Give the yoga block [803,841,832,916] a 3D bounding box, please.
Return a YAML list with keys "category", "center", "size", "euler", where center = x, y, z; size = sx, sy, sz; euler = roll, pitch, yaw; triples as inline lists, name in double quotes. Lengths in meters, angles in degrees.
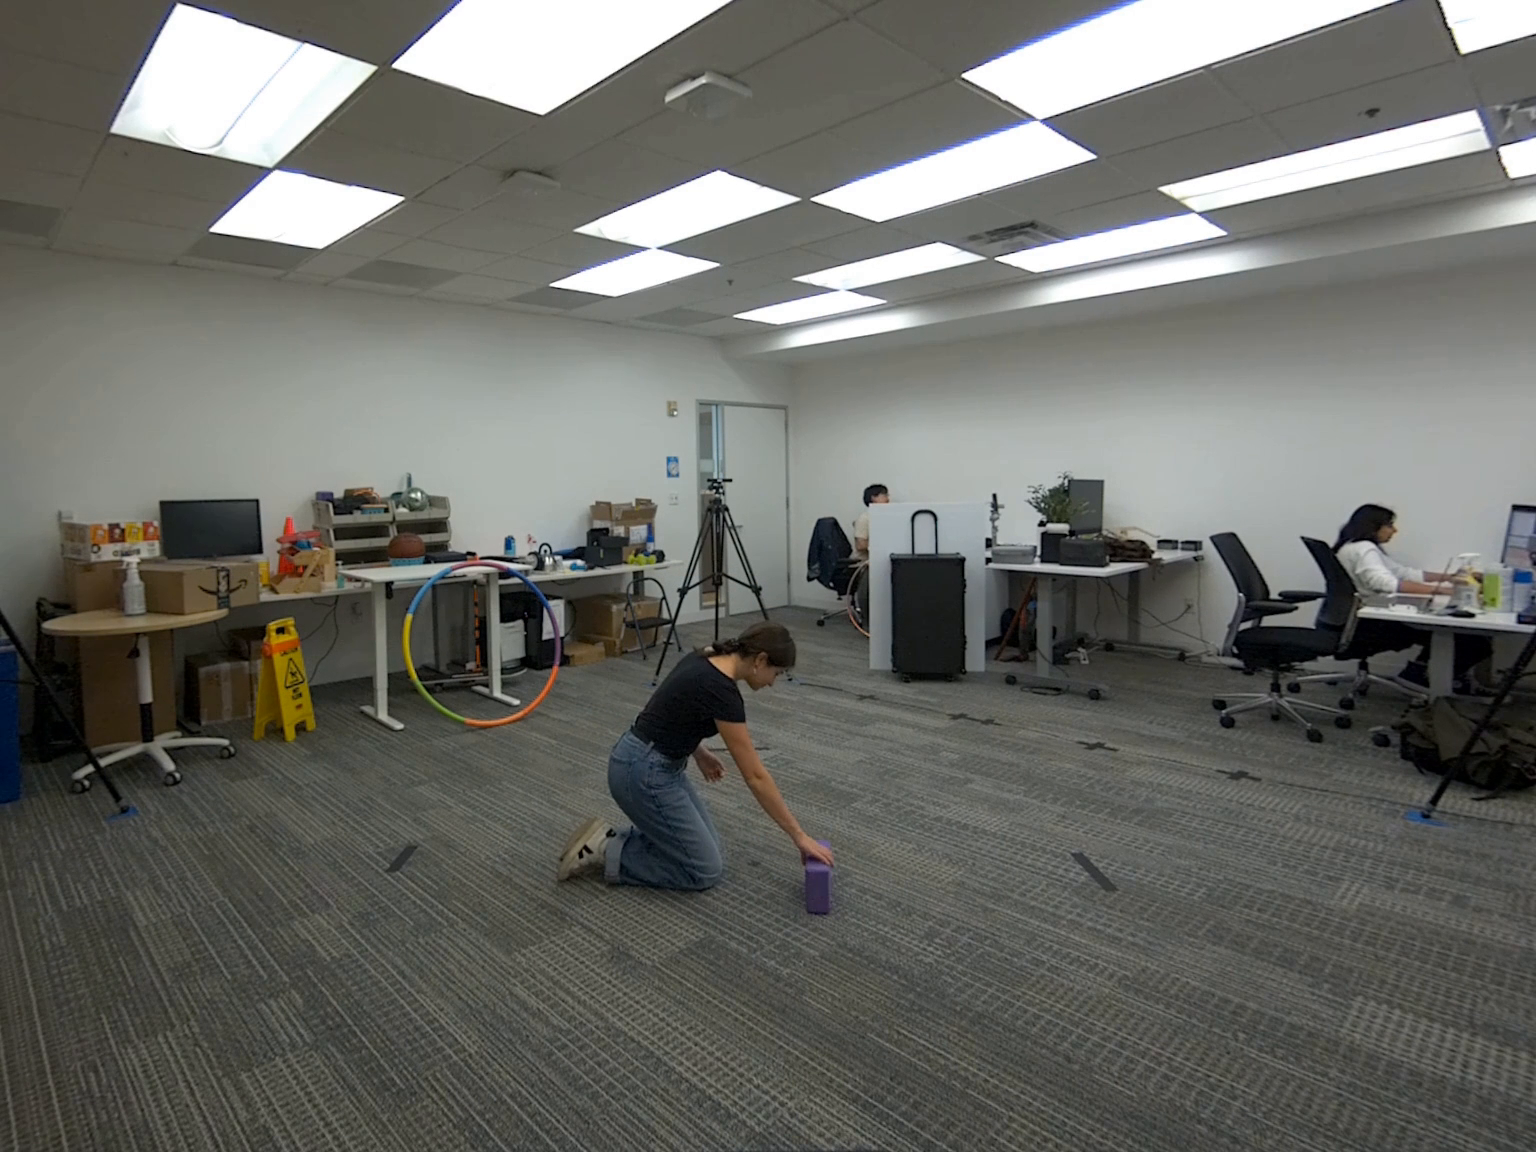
- category: "yoga block"
  center: [0.163, 0.986, 2.840]
  size: [0.077, 0.149, 0.228]
  euler: [0, 3, 4]
